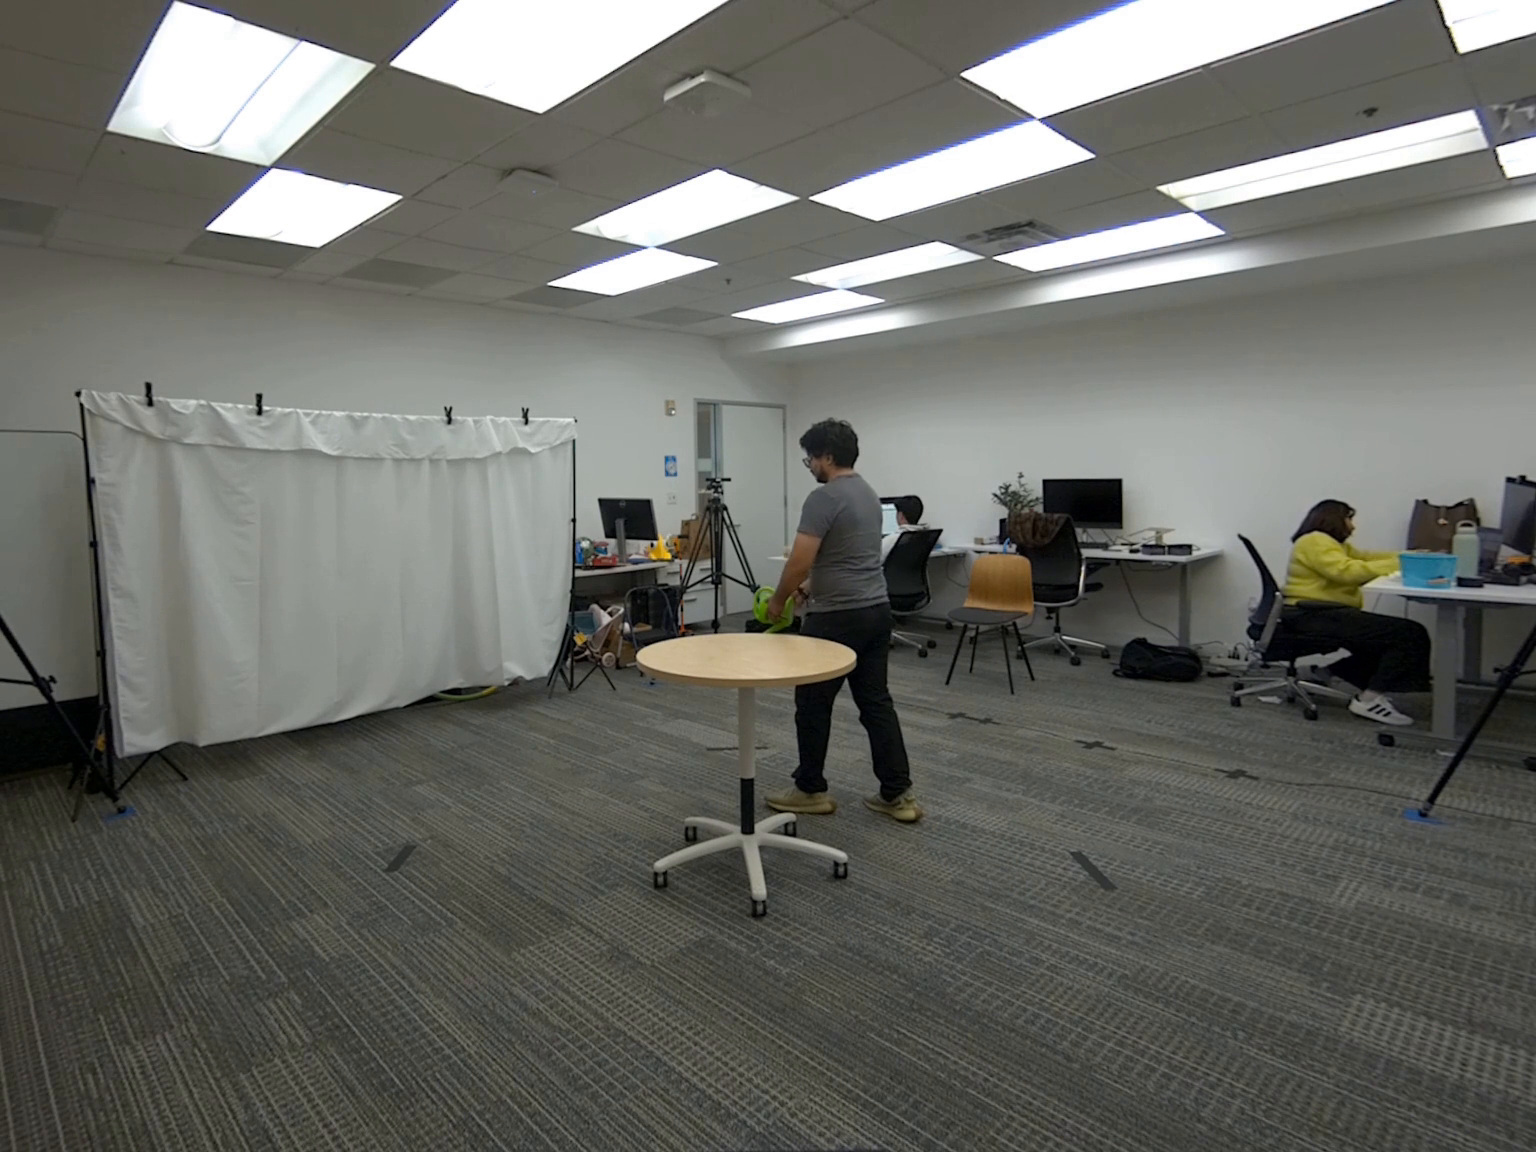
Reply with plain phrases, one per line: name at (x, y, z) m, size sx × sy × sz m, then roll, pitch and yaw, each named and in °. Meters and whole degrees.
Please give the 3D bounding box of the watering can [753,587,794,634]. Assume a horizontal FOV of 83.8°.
watering can at (0.020, 0.187, 3.766) m, size 0.180 × 0.275 × 0.097 m, roll 9°, pitch 16°, yaw 17°
